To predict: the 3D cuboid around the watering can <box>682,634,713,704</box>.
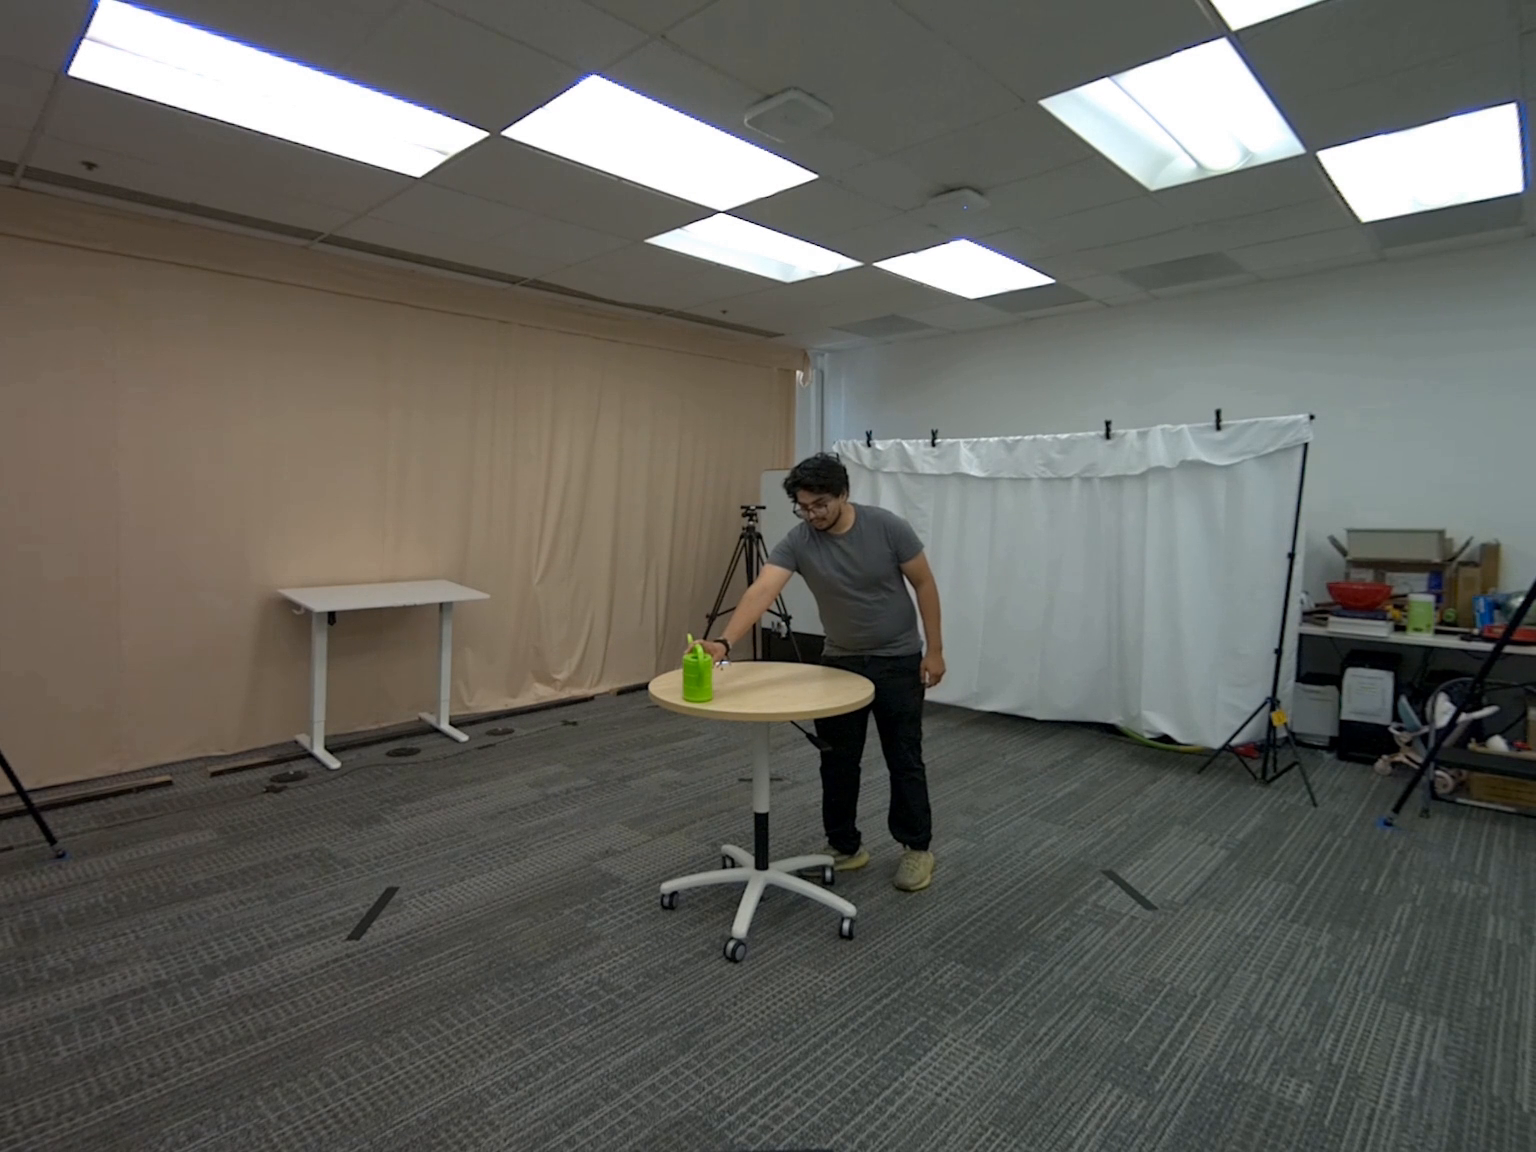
[{"bbox_3d":[-0.216,0.300,2.717,0.098,0.176,0.279,1,8,0],"label":"watering can"}]
